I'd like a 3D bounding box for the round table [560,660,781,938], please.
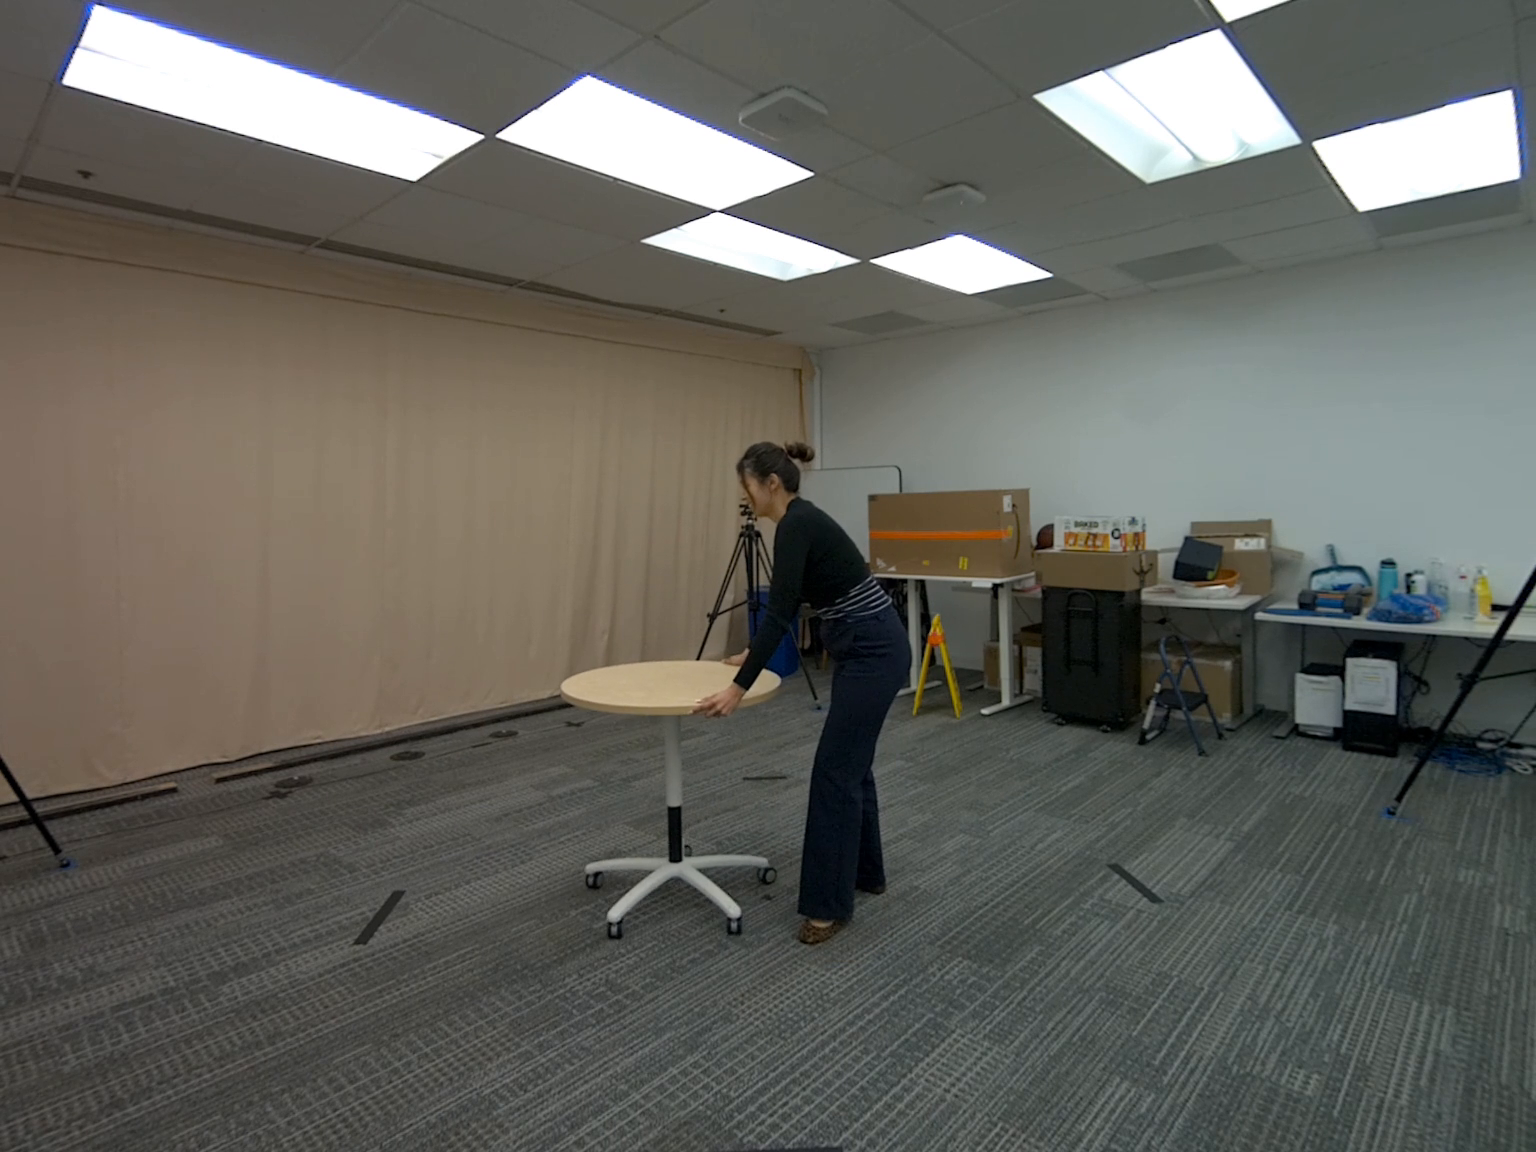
[{"bbox_3d":[-0.321,0.761,2.966,0.763,0.792,0.767,-1,4,-2],"label":"round table"}]
